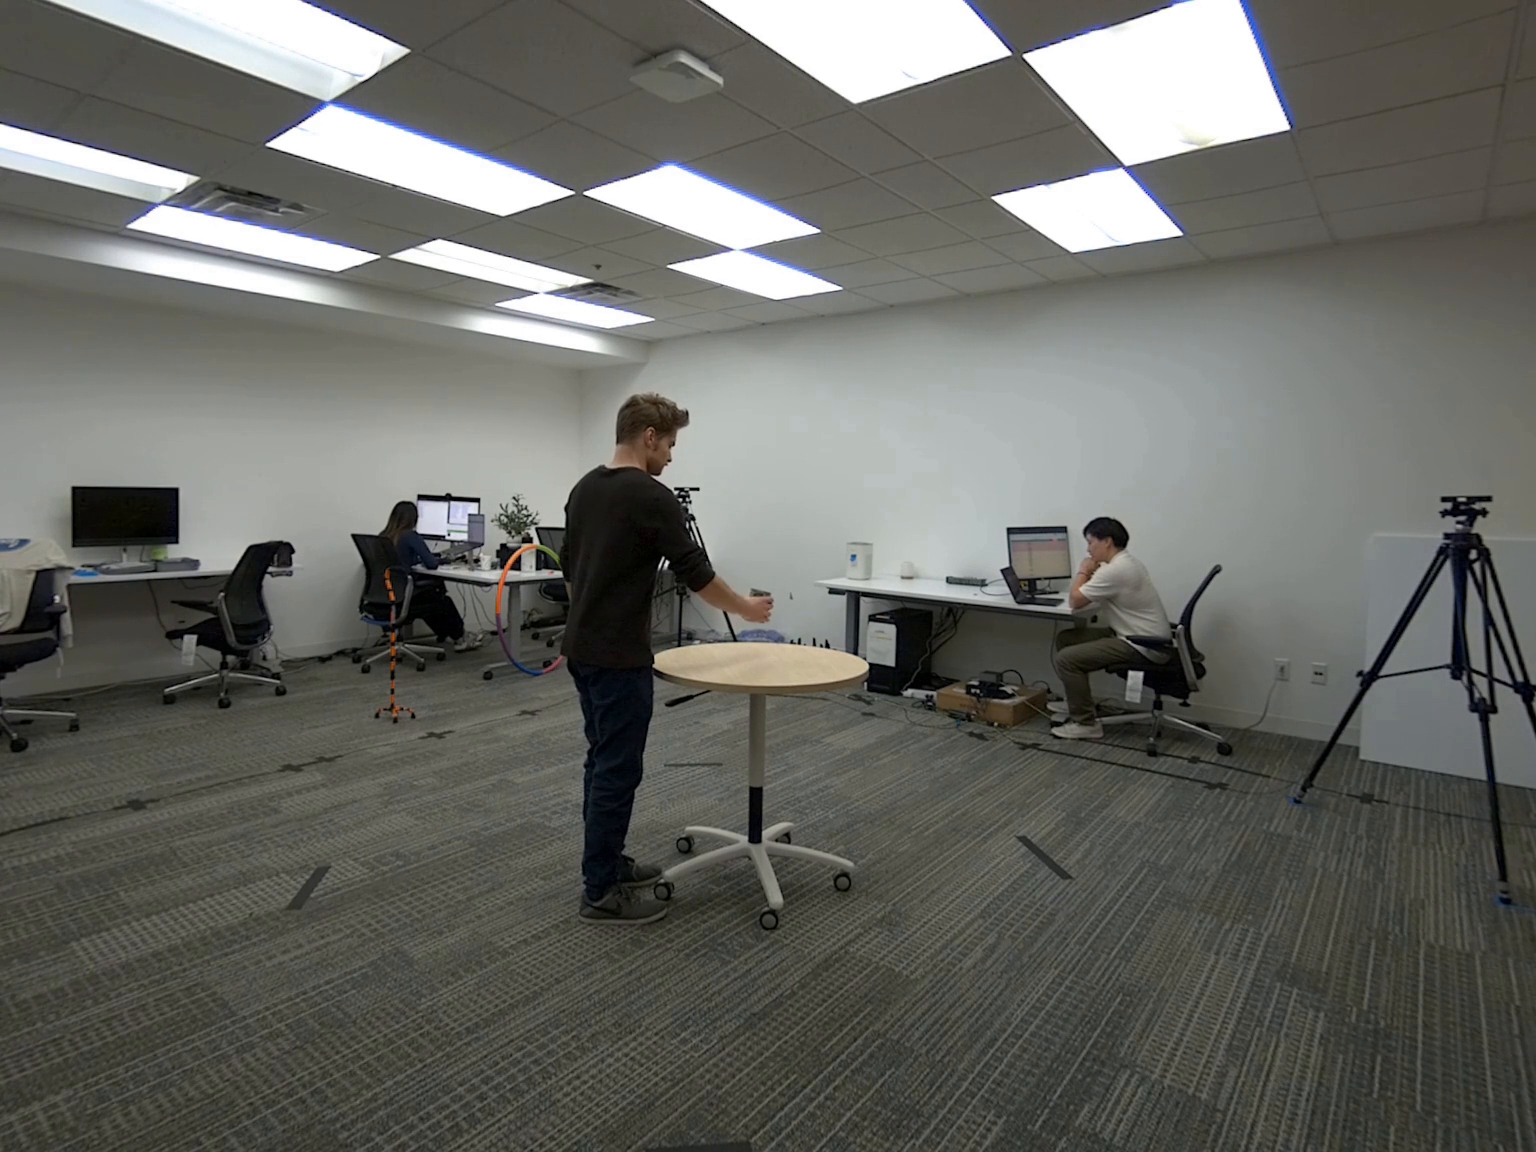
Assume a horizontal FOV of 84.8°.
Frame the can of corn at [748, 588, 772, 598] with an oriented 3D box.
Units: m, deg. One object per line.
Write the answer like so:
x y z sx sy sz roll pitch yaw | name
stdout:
-0.048 0.115 3.009 0.074 0.111 0.074 11 3 -3 | can of corn
